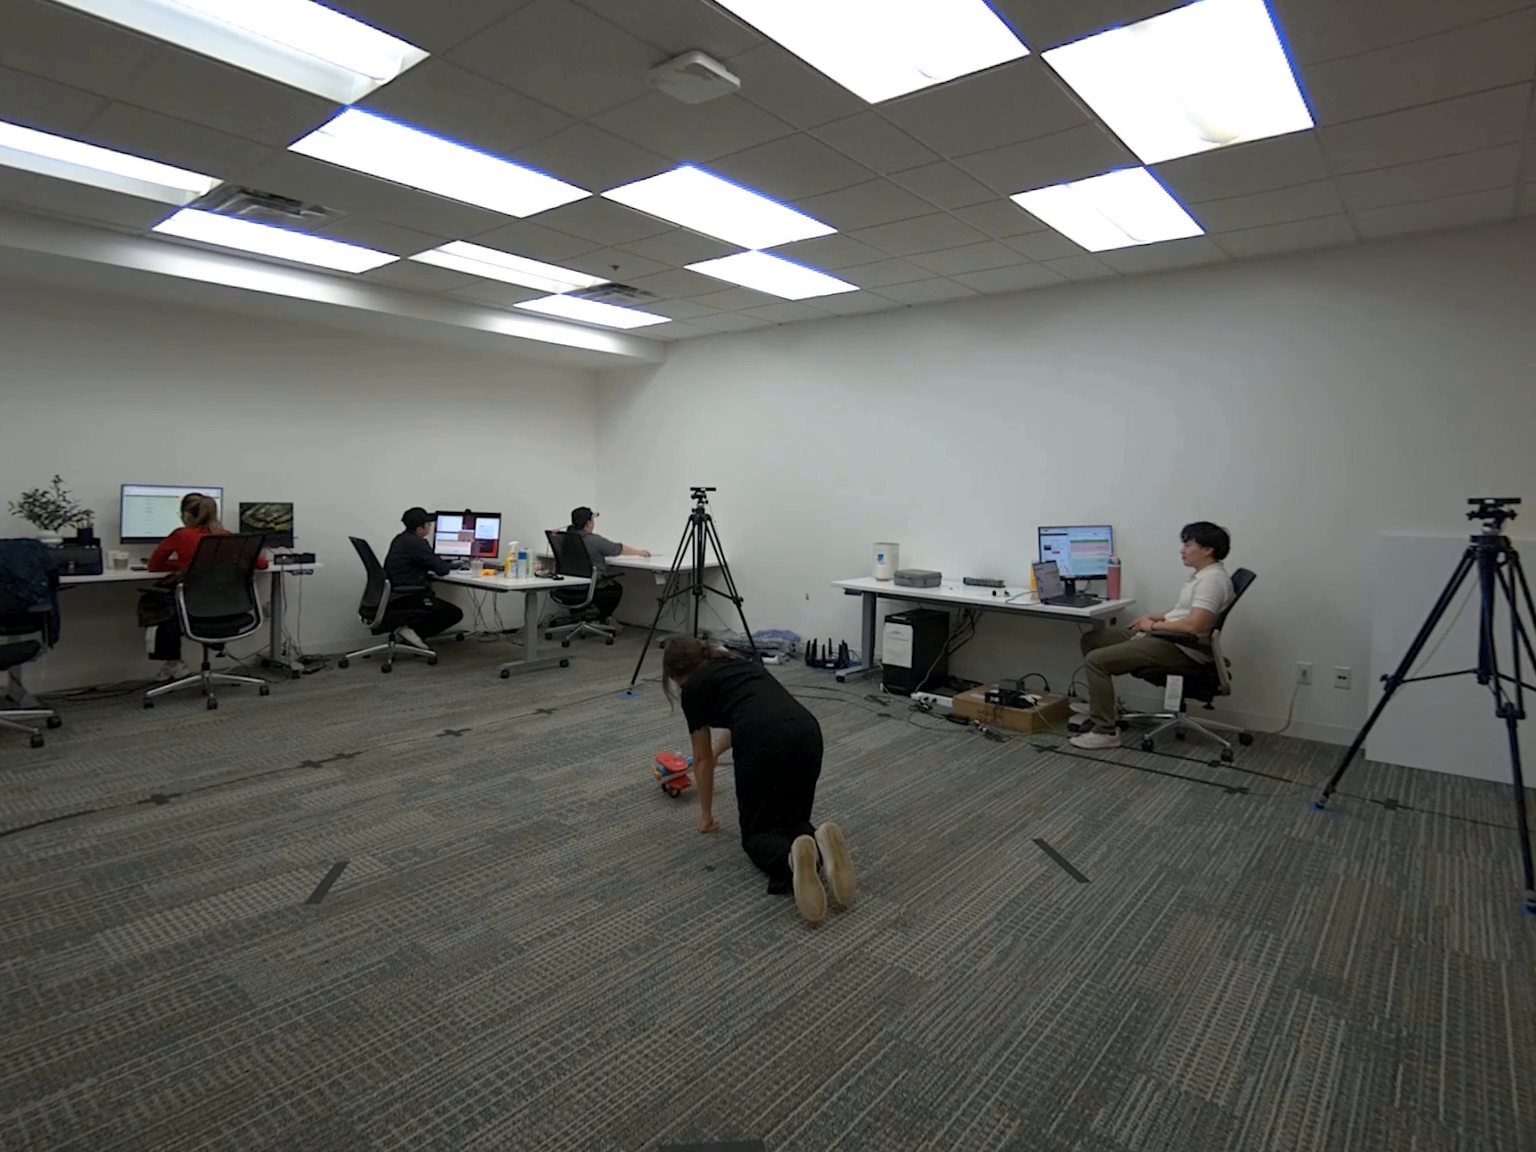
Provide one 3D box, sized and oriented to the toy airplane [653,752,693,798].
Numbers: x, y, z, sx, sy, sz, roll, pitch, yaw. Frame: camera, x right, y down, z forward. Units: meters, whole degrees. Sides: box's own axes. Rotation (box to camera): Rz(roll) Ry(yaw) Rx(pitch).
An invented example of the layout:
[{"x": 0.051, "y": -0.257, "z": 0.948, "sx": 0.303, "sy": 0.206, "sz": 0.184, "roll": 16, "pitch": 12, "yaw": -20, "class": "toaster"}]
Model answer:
[{"x": -0.419, "y": 0.884, "z": 3.894, "sx": 0.257, "sy": 0.153, "sz": 0.258, "roll": -11, "pitch": 19, "yaw": 35, "class": "toy airplane"}]
